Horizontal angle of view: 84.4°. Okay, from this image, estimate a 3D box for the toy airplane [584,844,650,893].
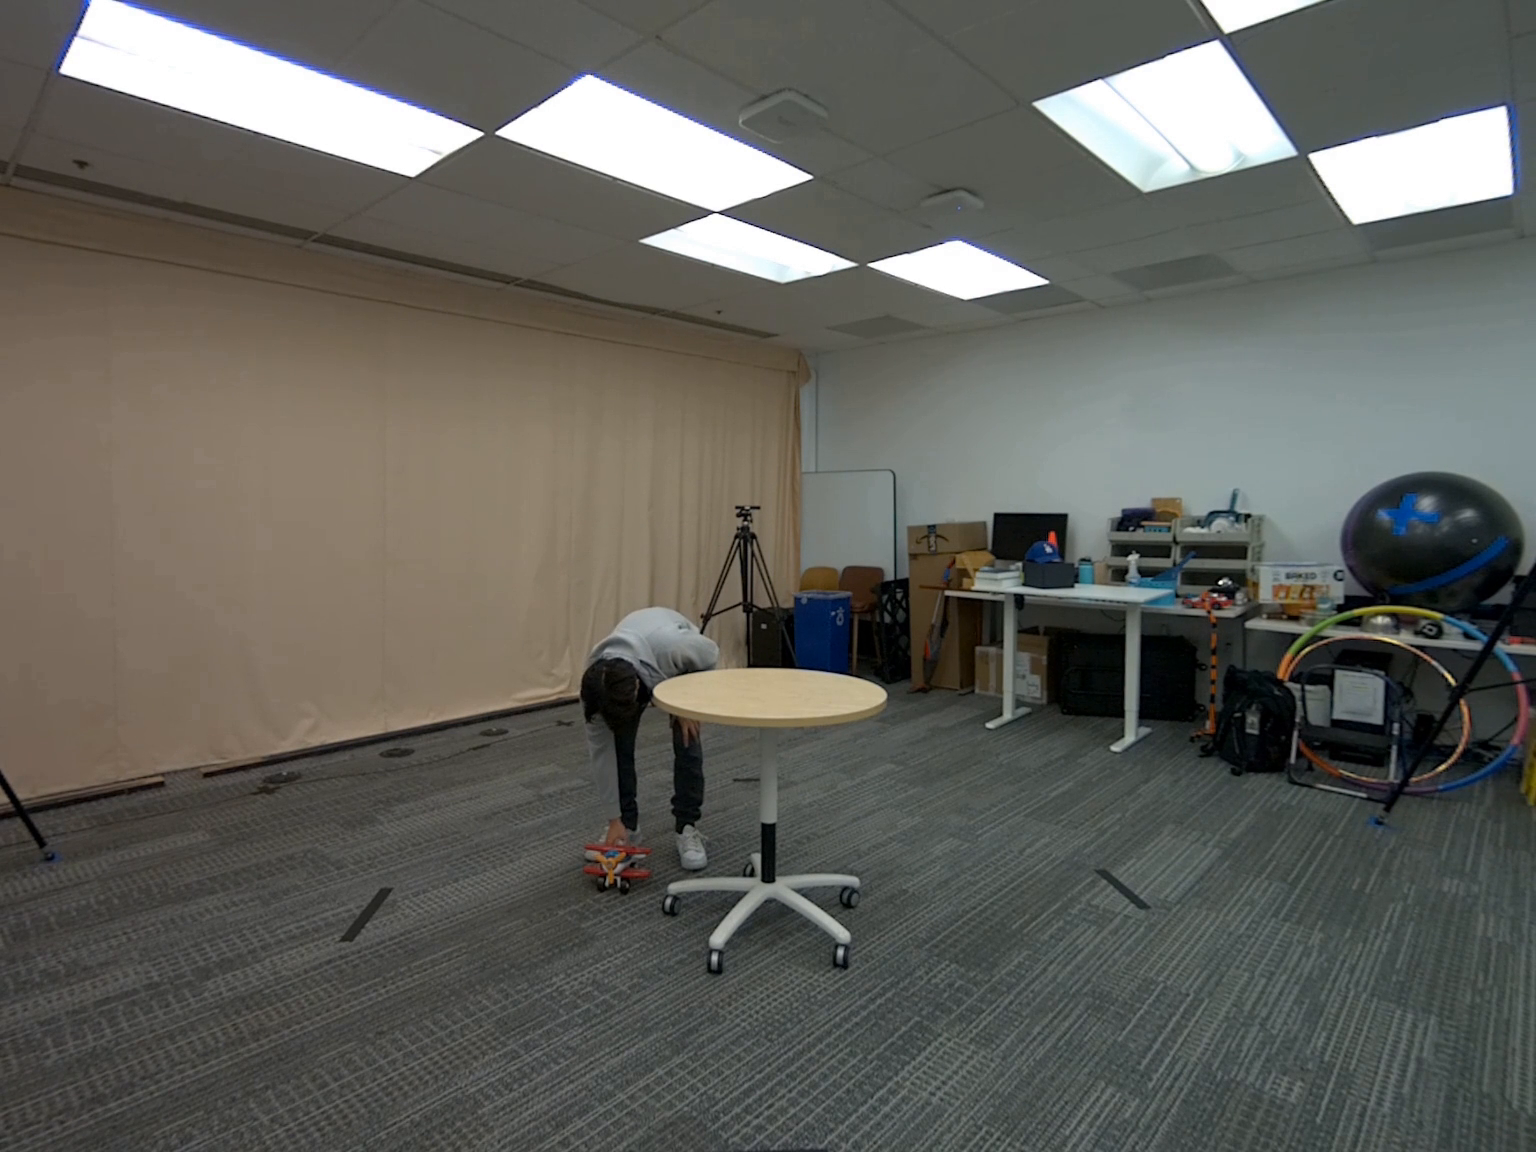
[{"bbox_3d":[-0.562,1.065,3.124,0.247,0.156,0.264,-3,4,-18],"label":"toy airplane"}]
